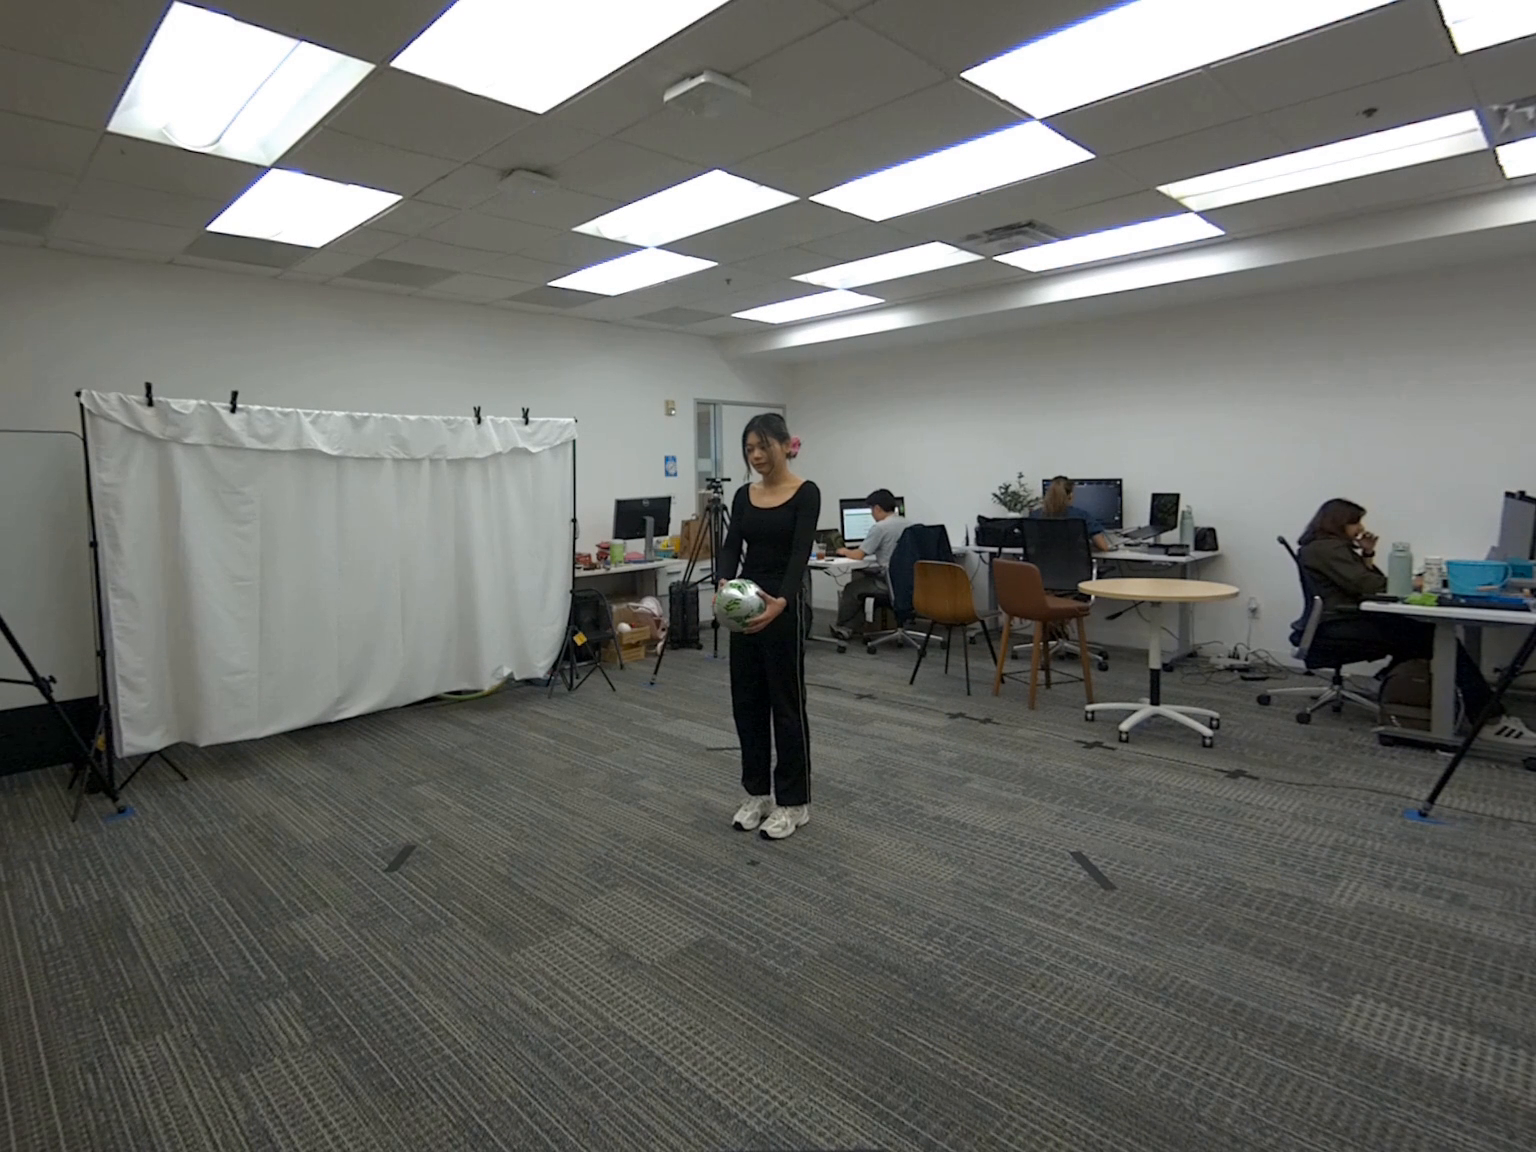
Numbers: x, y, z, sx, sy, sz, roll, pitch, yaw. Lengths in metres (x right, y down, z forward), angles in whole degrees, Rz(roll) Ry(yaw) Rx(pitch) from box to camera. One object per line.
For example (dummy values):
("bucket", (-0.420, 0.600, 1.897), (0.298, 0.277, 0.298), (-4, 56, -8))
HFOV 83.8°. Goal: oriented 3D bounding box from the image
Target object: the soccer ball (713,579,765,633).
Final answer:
("soccer ball", (-0.091, 0.106, 3.012), (0.187, 0.187, 0.188), (-1, 5, -2))
